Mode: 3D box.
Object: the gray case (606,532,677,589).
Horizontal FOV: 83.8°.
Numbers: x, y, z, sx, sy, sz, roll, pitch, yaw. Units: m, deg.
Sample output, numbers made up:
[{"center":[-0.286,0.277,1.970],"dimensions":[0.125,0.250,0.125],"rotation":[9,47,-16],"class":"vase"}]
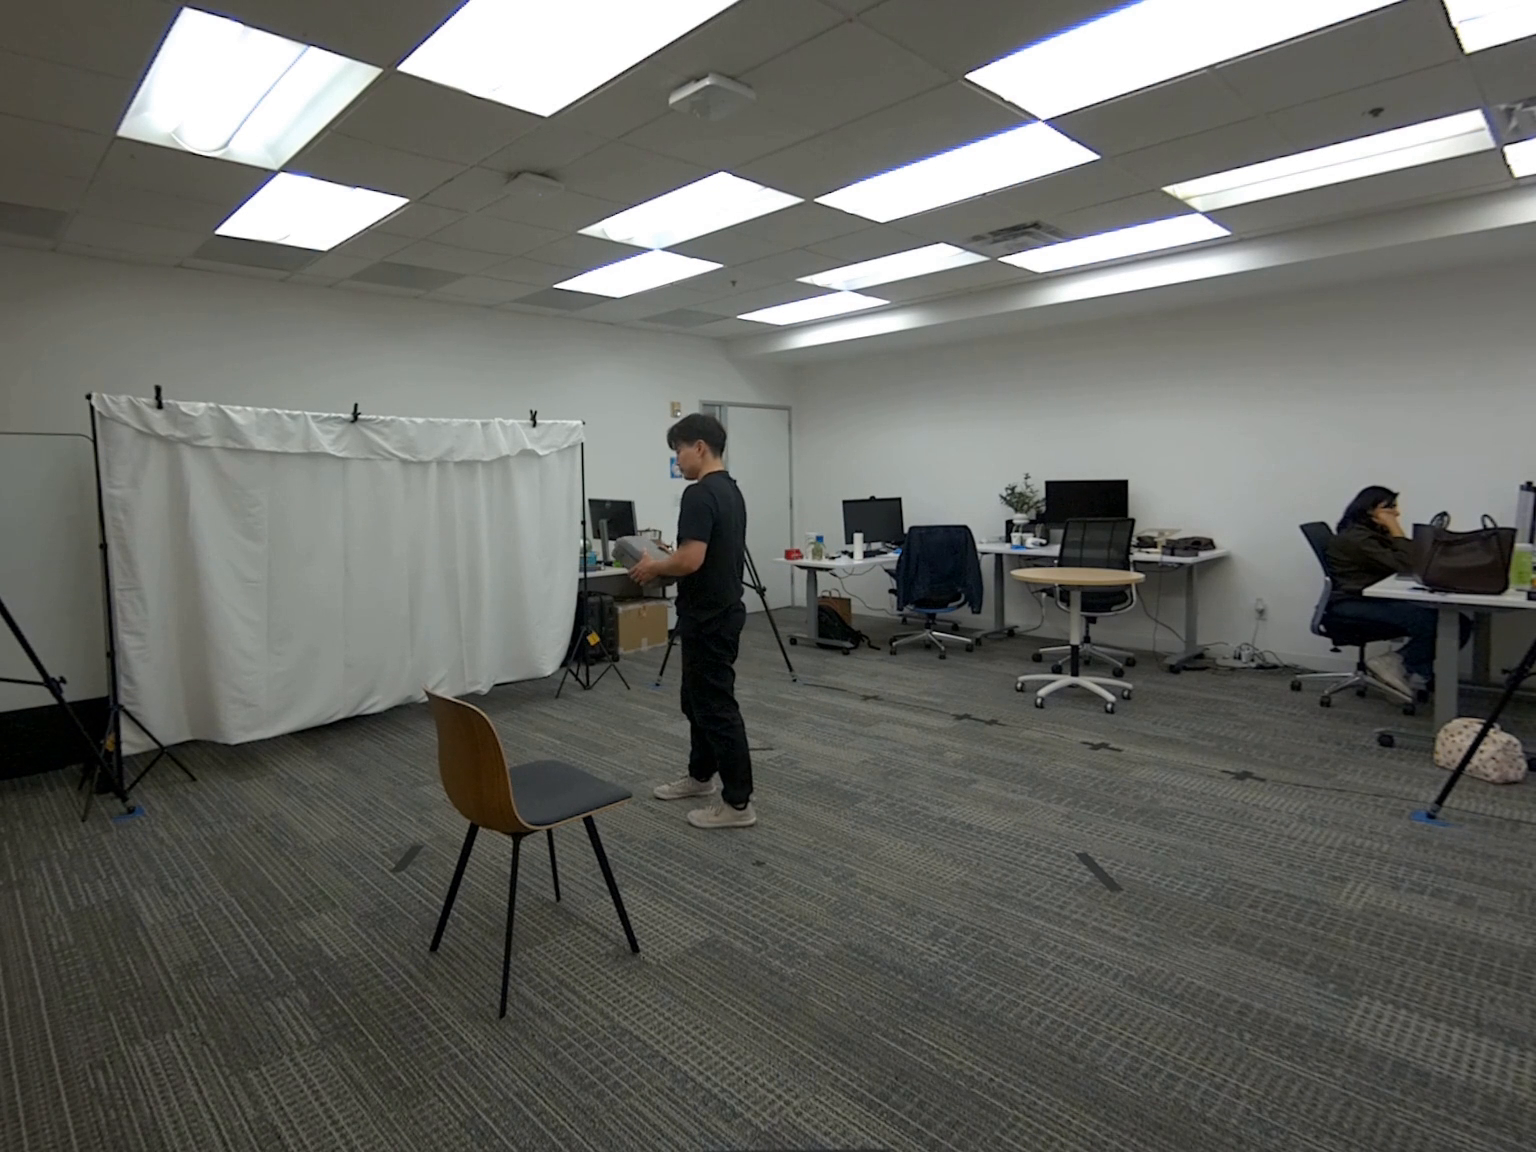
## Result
[{"center":[-0.505,-0.072,3.624],"dimensions":[0.266,0.104,0.253],"rotation":[35,11,14],"class":"gray case"}]
